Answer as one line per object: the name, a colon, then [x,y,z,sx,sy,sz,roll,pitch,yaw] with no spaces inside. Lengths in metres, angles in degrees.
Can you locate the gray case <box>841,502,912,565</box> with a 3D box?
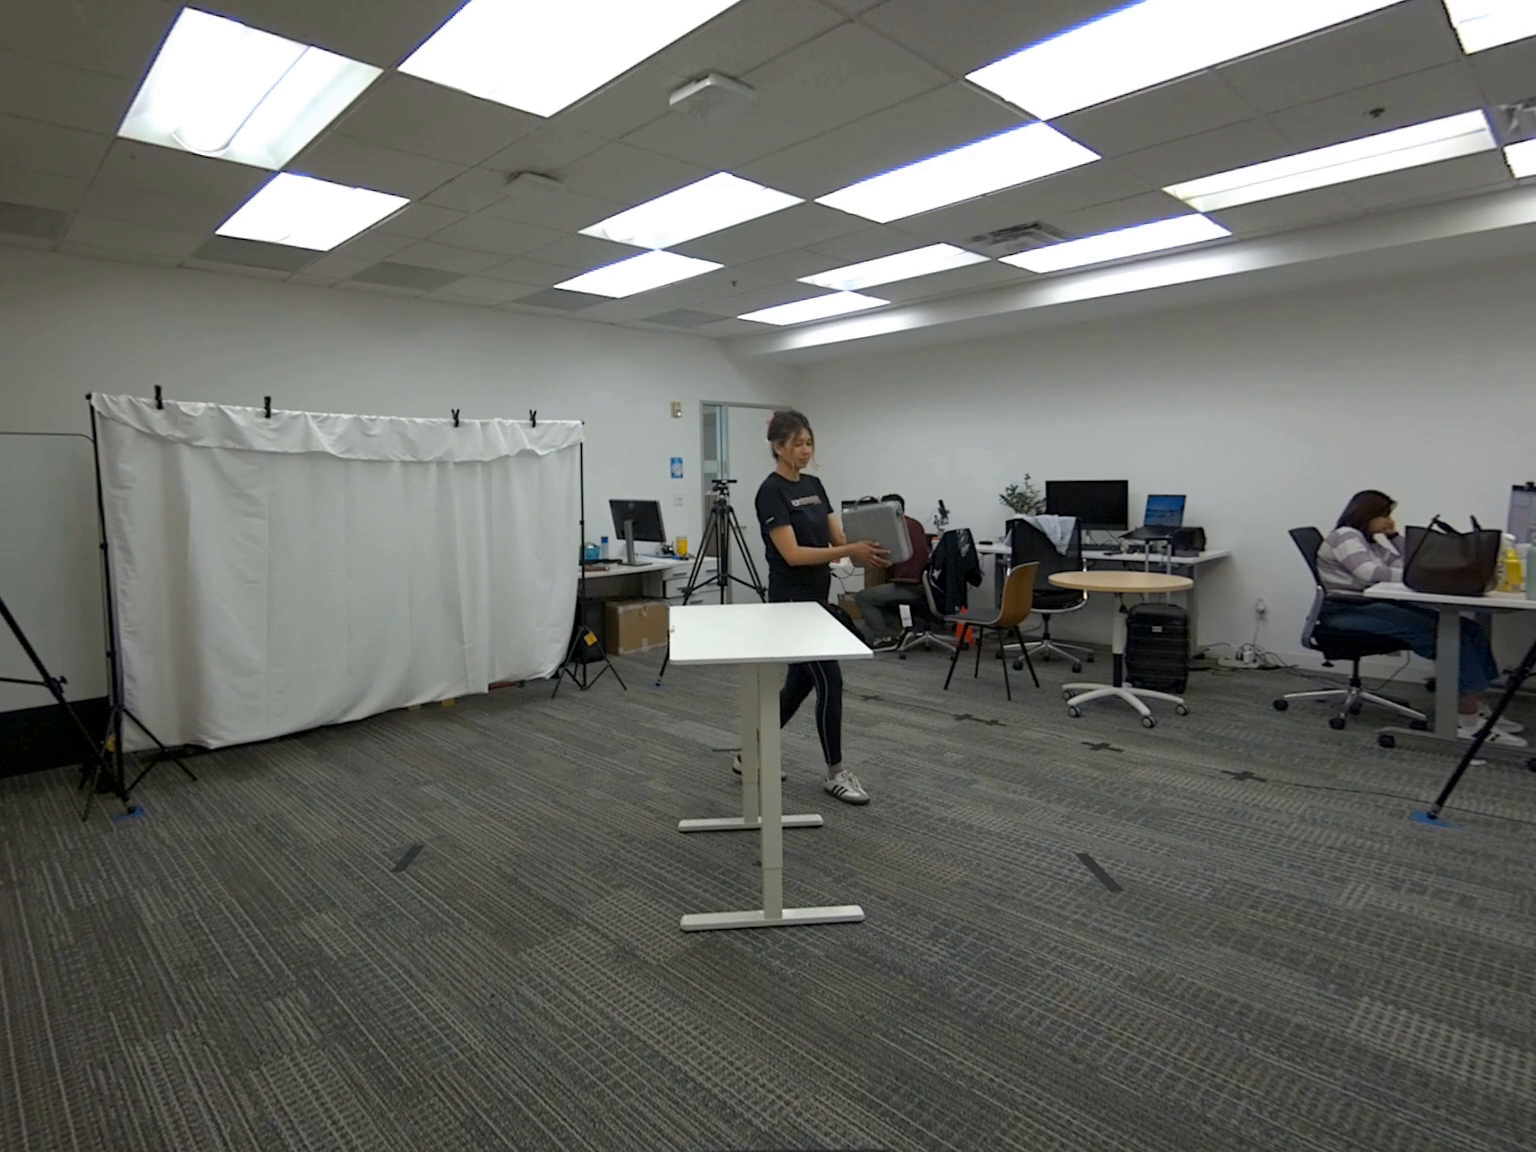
gray case: [0.450,-0.177,3.557,0.263,0.259,0.103,-10,8,35]
